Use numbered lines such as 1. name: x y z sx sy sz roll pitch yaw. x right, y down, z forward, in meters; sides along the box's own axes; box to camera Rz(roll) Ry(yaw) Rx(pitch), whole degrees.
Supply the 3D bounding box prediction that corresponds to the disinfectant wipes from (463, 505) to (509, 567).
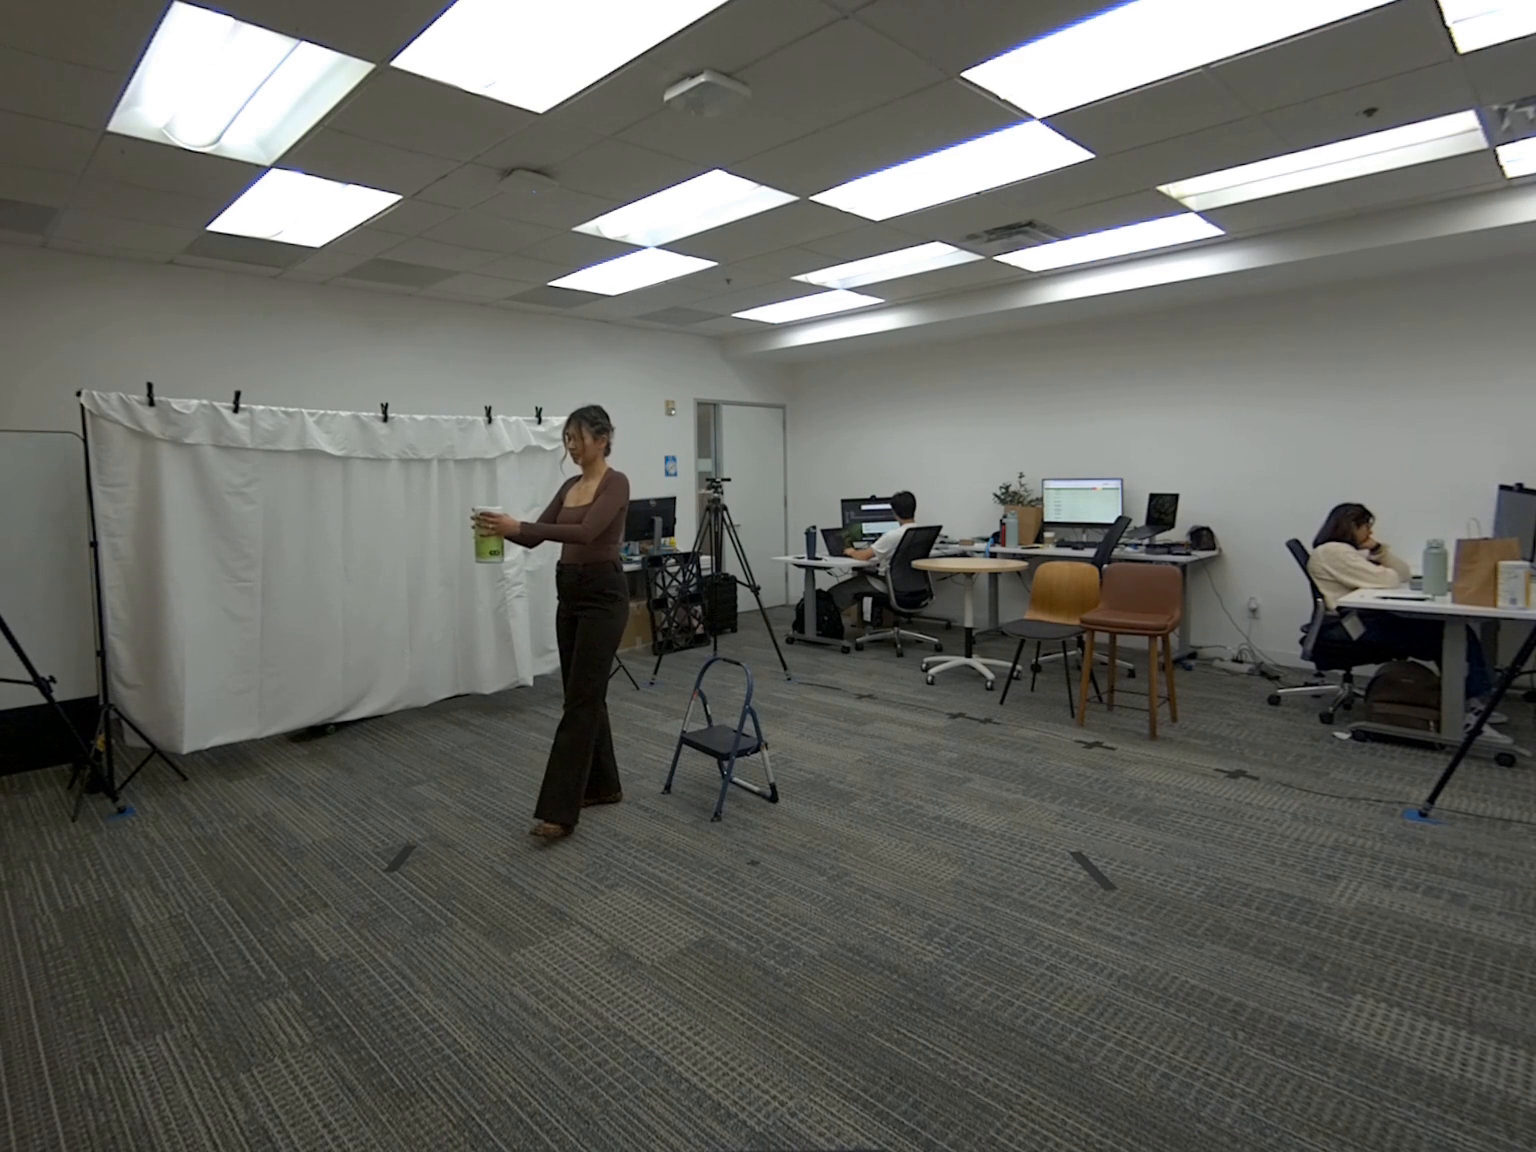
1. disinfectant wipes: -1.079 -0.155 3.276 0.118 0.217 0.118 6 1 -2
